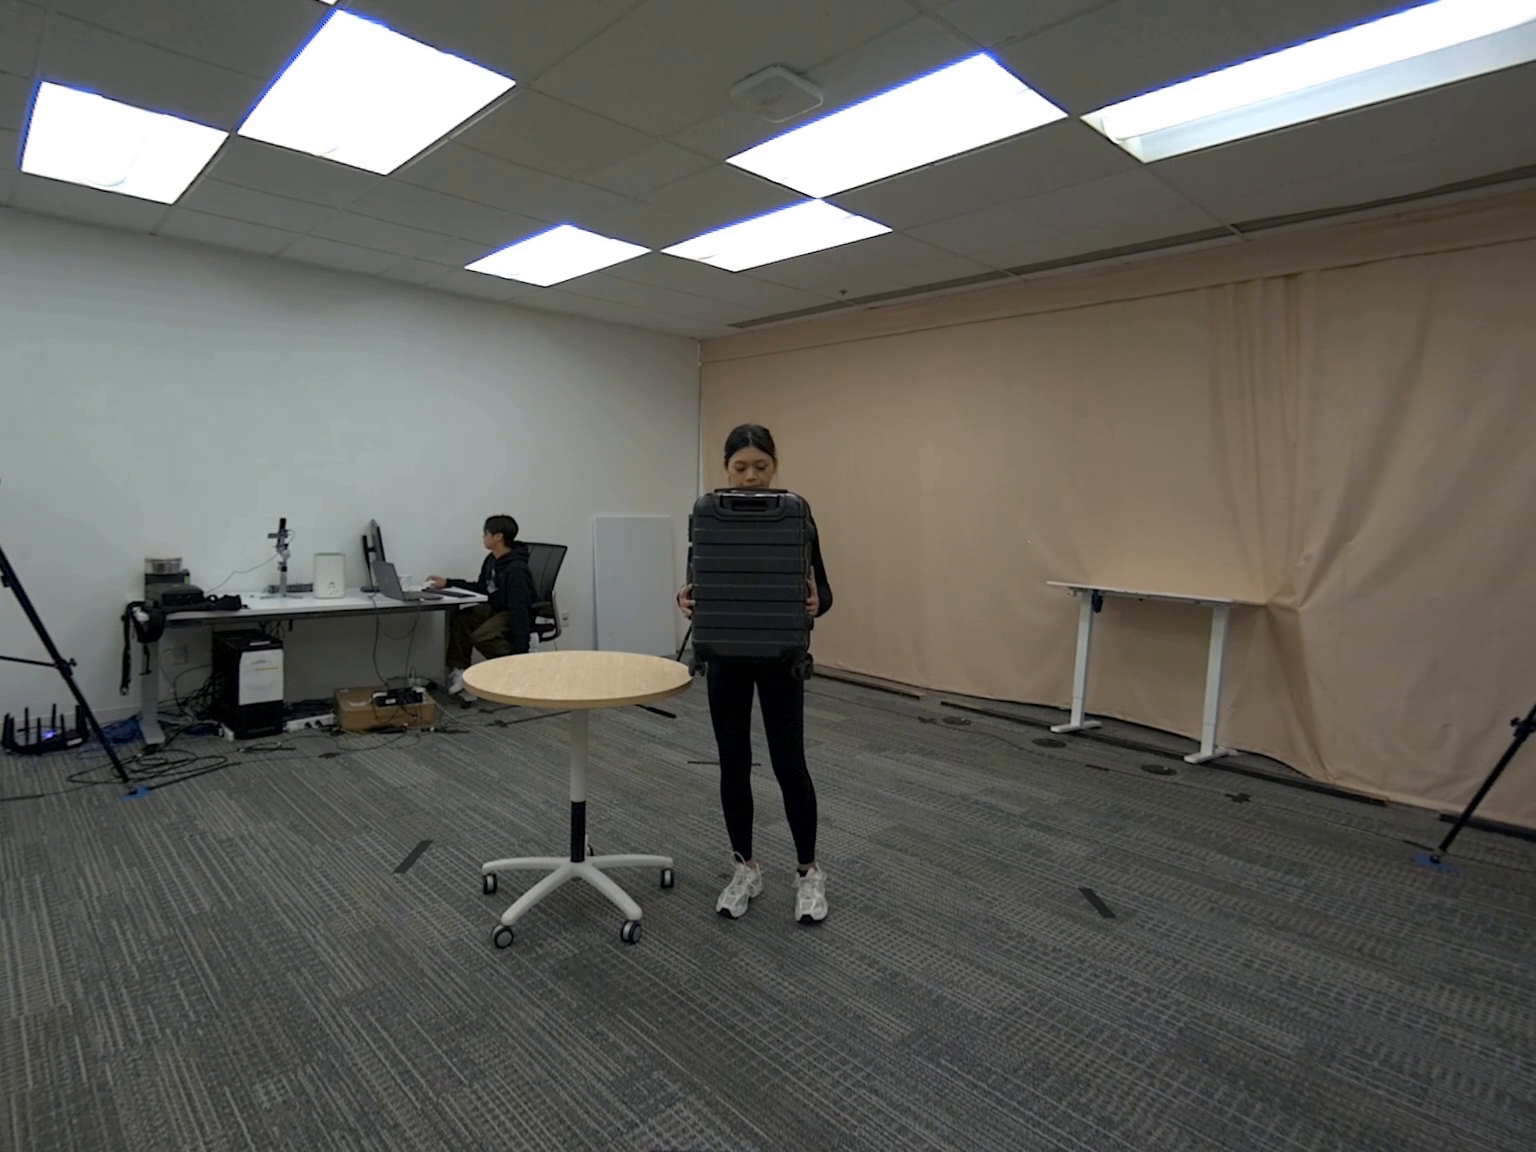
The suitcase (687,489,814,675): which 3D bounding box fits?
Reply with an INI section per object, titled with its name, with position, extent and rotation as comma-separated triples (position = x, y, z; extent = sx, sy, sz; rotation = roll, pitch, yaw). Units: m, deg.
[suitcase]
position = -0.060, 0.019, 2.528
extent = 0.377, 0.550, 0.247
rotation = 0, -1, 5
